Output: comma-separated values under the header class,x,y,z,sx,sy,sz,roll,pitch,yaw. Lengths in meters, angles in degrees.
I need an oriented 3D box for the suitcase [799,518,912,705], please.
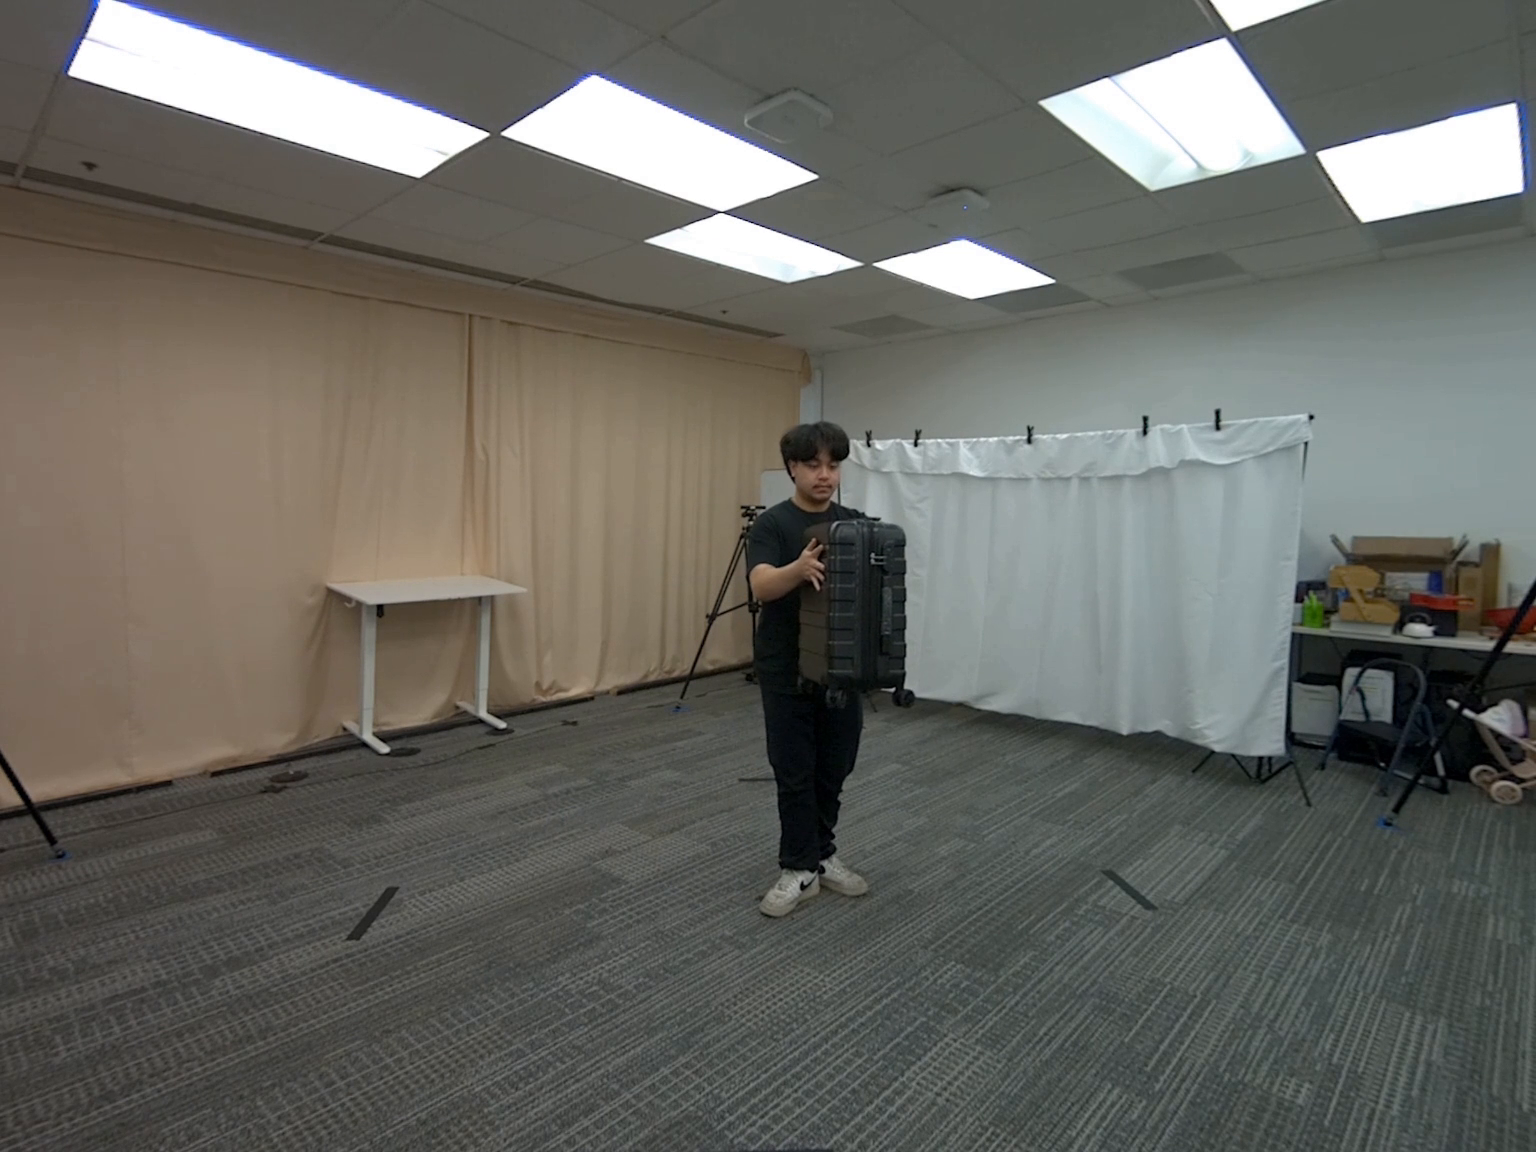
class,x,y,z,sx,sy,sz,roll,pitch,yaw
suitcase,0.260,0.100,2.559,0.244,0.549,0.381,2,0,-15
